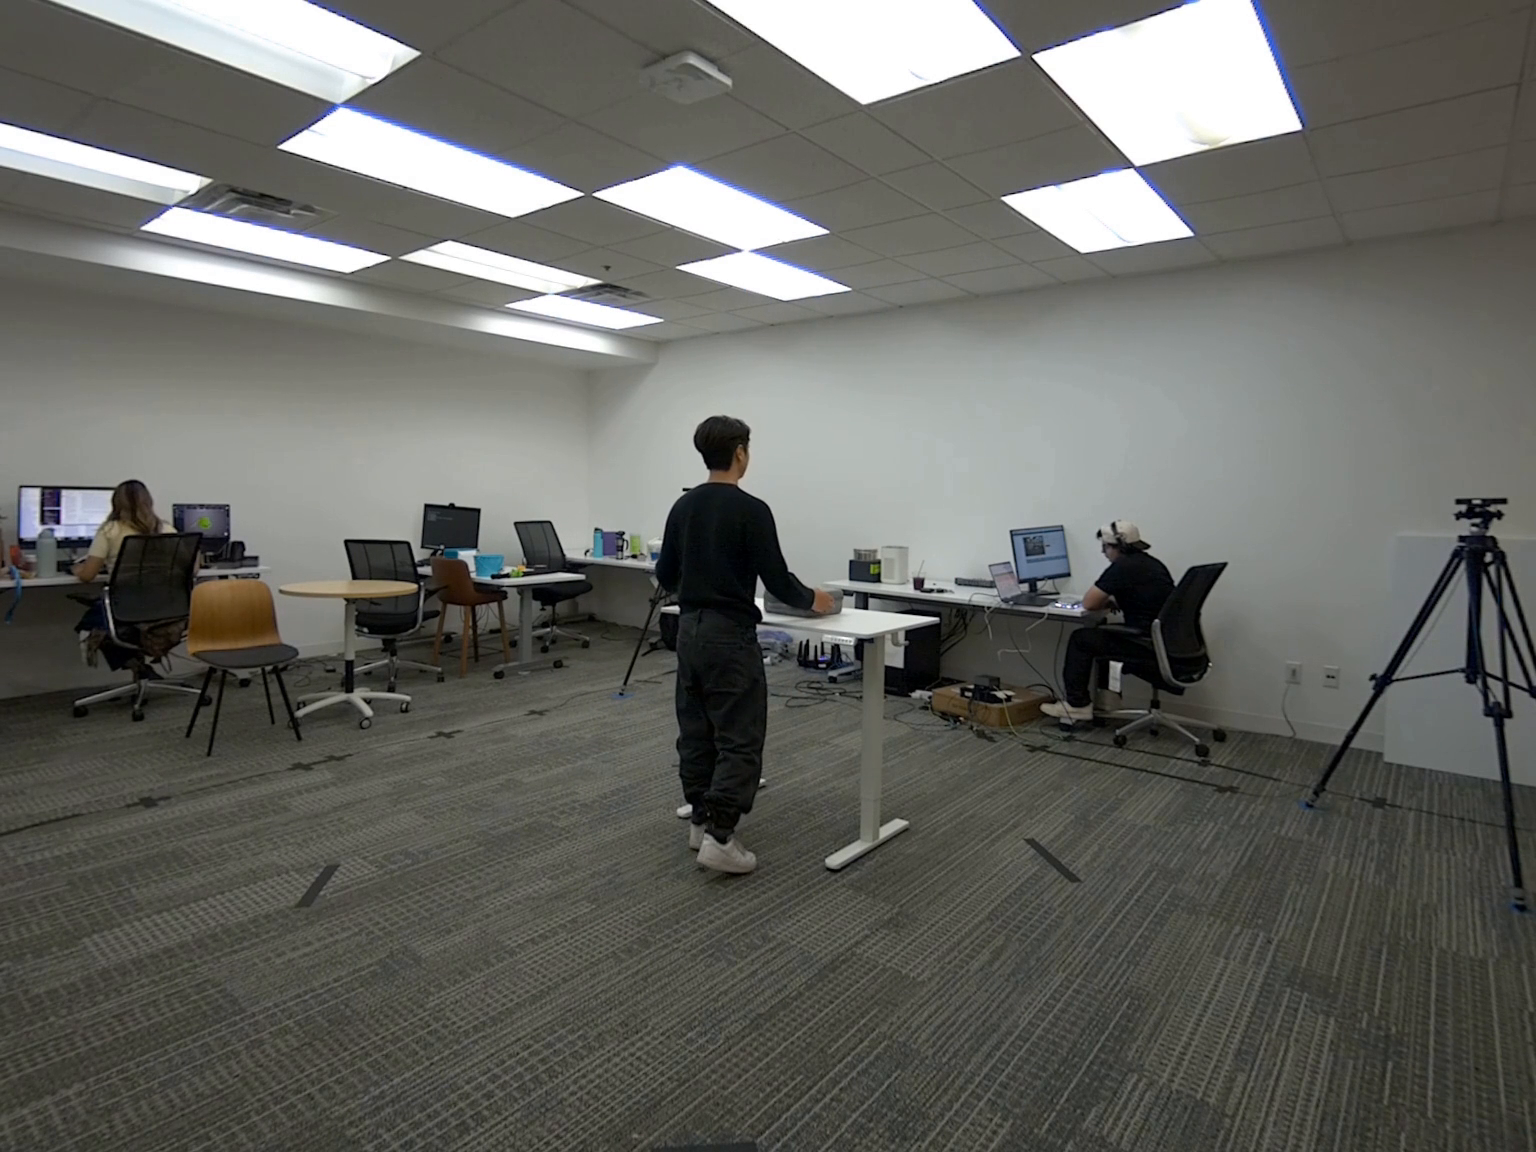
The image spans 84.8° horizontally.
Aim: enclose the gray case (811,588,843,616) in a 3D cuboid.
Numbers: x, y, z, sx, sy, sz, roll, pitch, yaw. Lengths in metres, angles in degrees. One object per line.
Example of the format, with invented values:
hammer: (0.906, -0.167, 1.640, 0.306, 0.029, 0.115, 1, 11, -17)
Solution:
gray case: (0.137, 0.100, 3.549, 0.266, 0.104, 0.253, 7, 8, 41)
